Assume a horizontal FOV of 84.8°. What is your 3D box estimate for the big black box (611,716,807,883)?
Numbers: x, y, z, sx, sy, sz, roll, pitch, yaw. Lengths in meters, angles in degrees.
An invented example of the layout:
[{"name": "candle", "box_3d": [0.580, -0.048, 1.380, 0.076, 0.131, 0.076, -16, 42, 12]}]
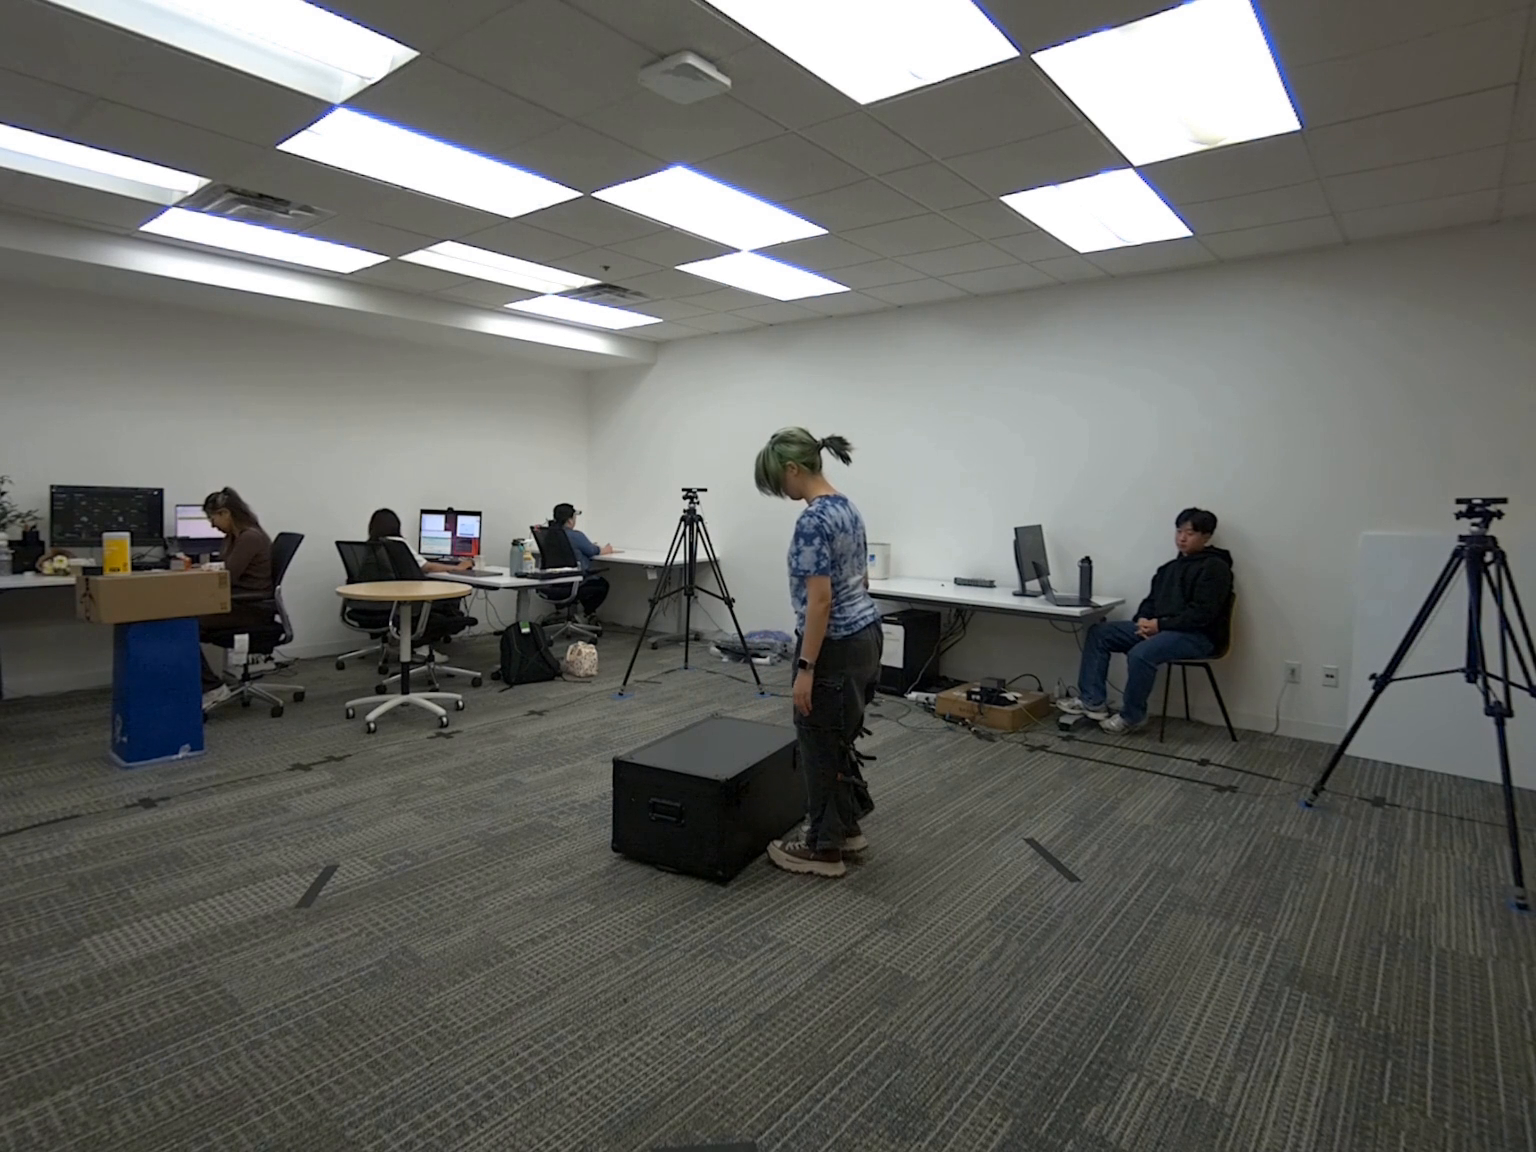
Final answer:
[{"name": "big black box", "box_3d": [-0.195, 0.849, 3.432, 0.535, 0.395, 0.842, 3, 6, 26]}]
